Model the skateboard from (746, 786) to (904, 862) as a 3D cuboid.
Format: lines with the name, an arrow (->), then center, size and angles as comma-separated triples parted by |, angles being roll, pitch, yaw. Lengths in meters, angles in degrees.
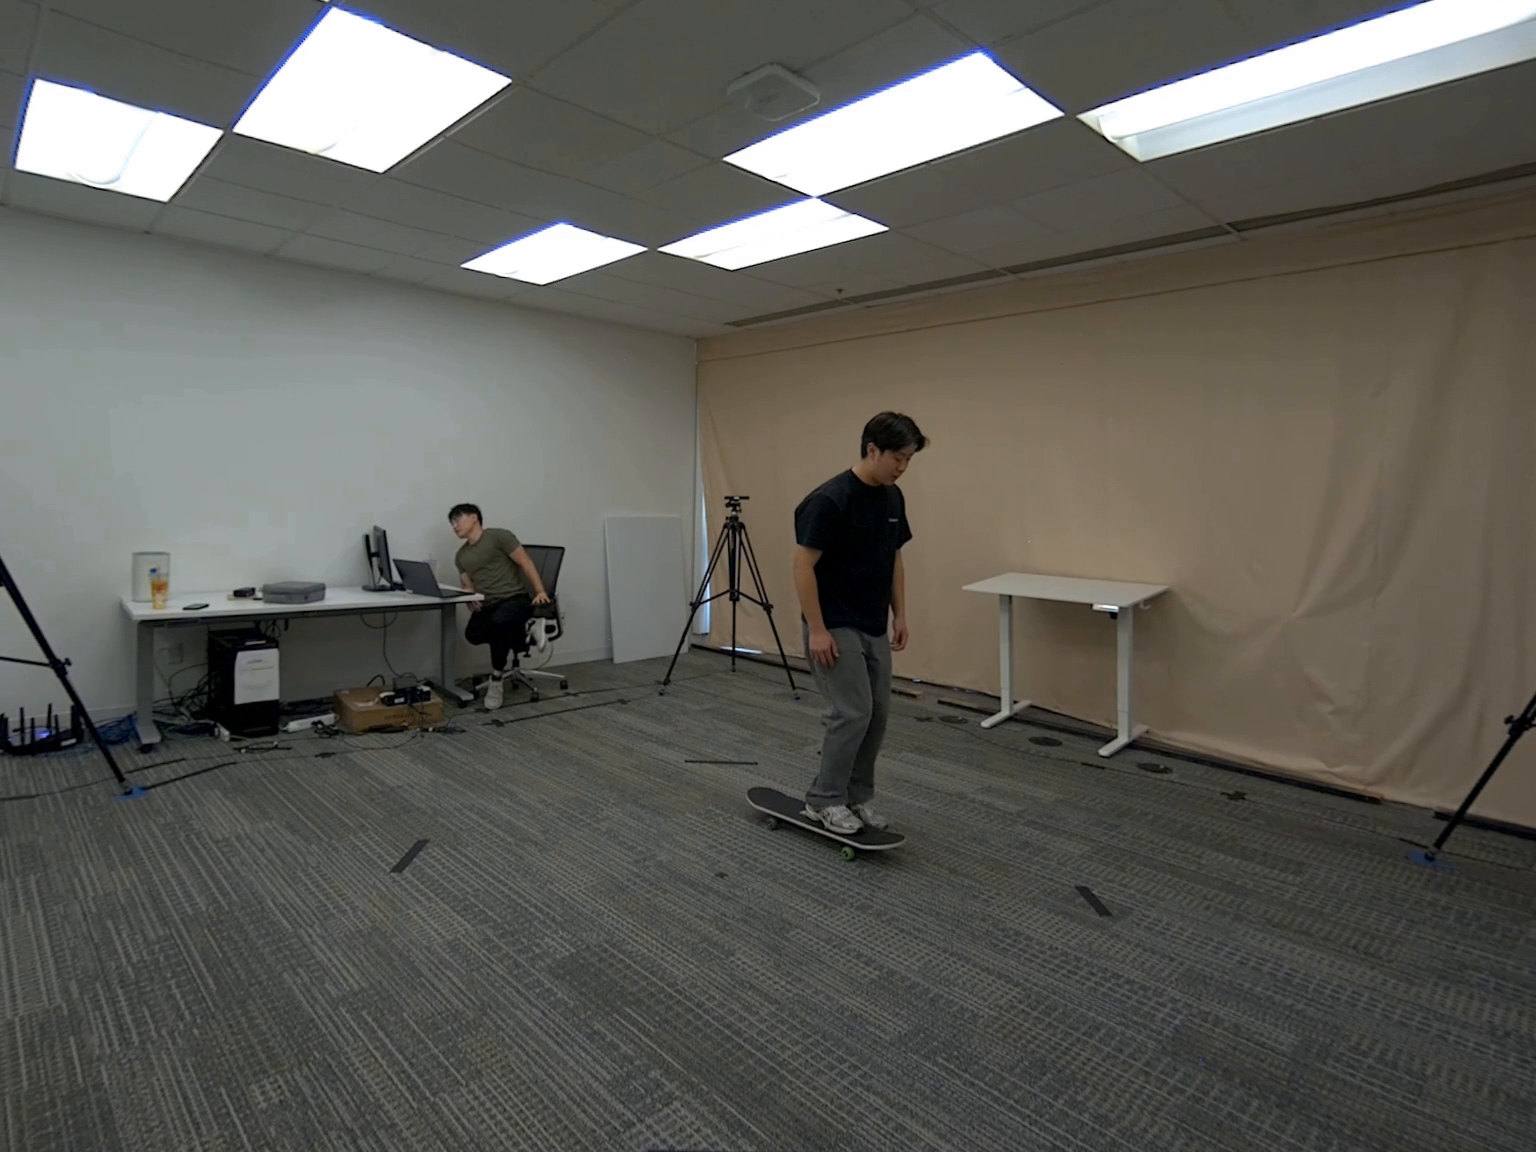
skateboard -> 0.206, 1.033, 3.462 | 0.806, 0.110, 0.189 | 6, 8, 44
